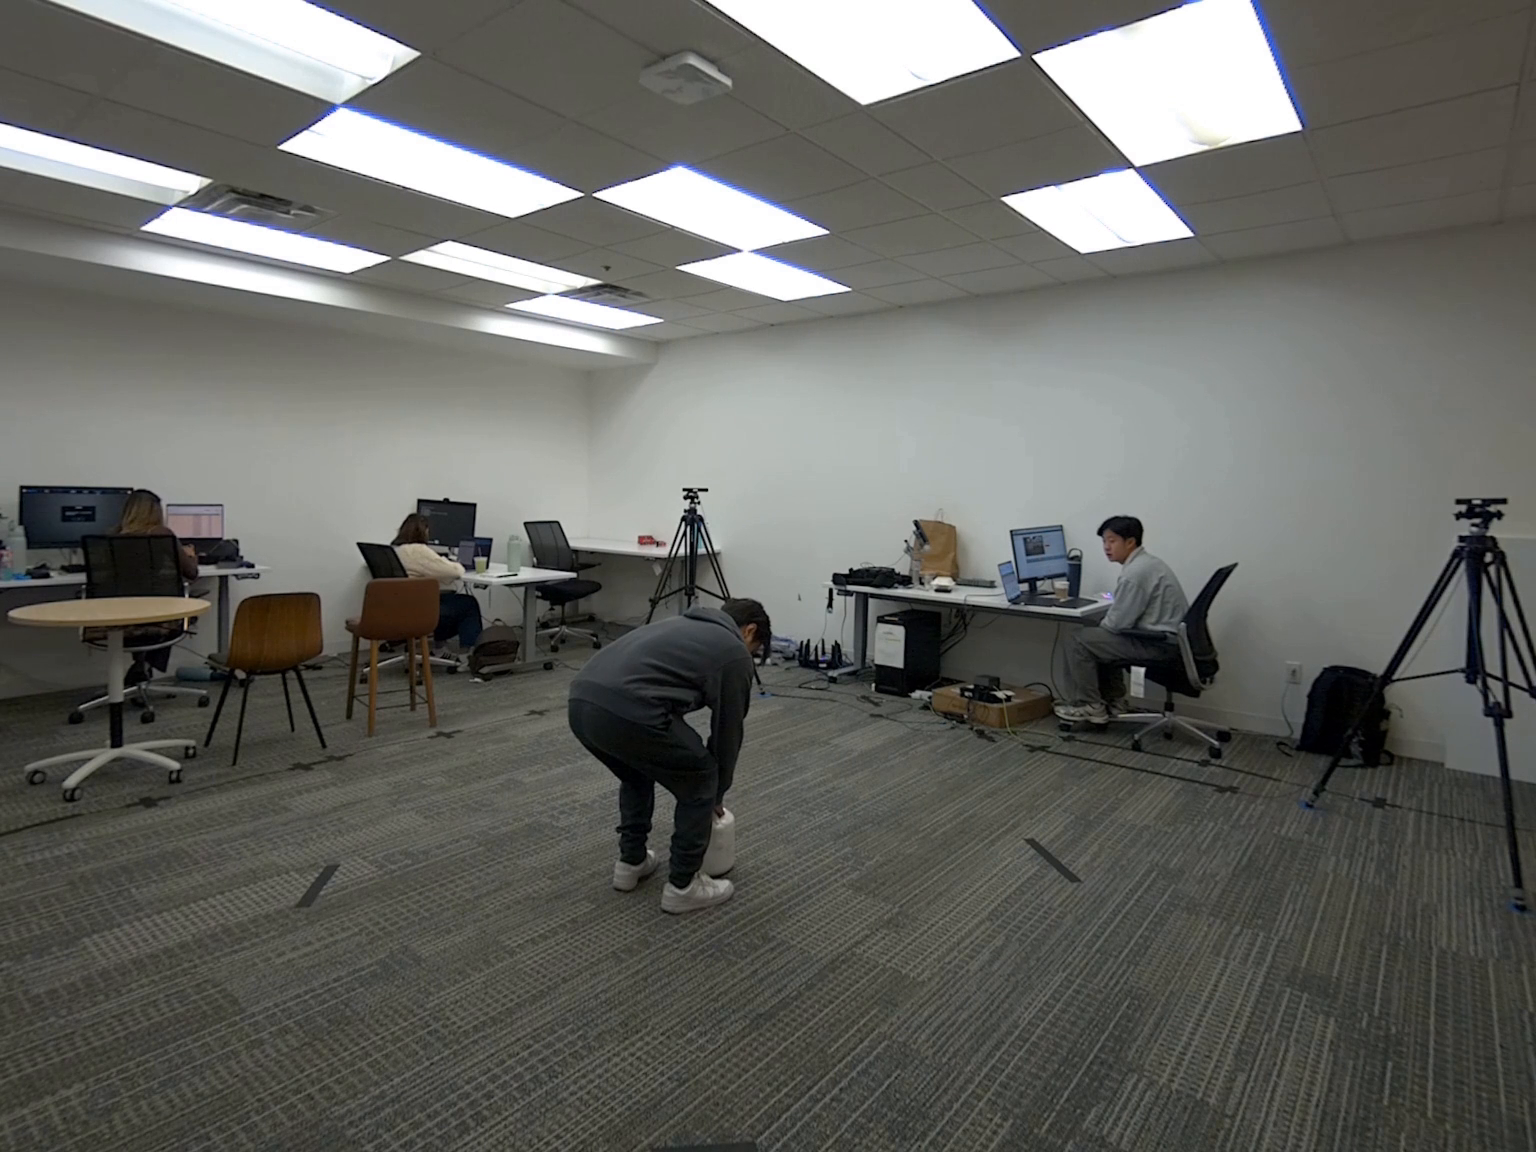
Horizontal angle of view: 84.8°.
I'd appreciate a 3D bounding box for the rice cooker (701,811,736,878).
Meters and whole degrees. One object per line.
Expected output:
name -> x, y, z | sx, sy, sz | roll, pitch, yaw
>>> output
rice cooker -> -0.232, 0.950, 3.119 | 0.212, 0.232, 0.227 | -2, 5, -28
